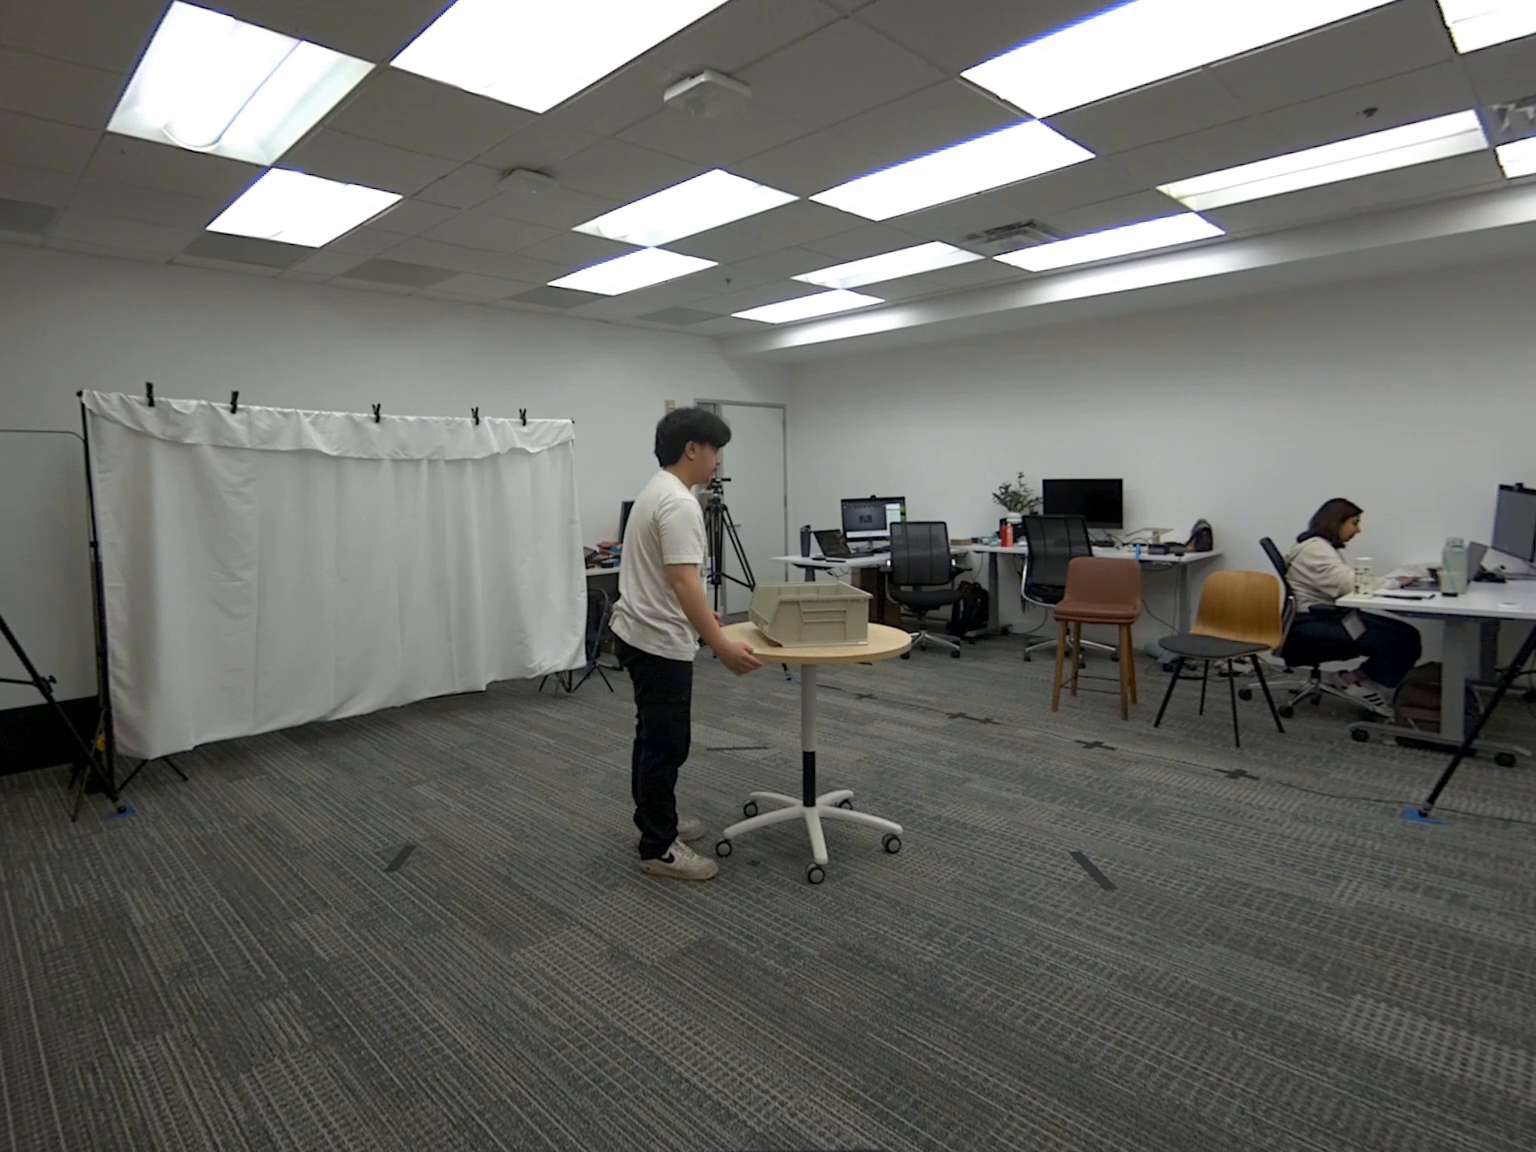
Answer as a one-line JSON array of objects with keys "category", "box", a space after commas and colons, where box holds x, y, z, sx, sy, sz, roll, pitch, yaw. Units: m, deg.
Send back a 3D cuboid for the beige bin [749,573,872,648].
[{"category": "beige bin", "box": [0.141, 0.139, 3.218, 0.374, 0.188, 0.428, 0, 6, -11]}]
